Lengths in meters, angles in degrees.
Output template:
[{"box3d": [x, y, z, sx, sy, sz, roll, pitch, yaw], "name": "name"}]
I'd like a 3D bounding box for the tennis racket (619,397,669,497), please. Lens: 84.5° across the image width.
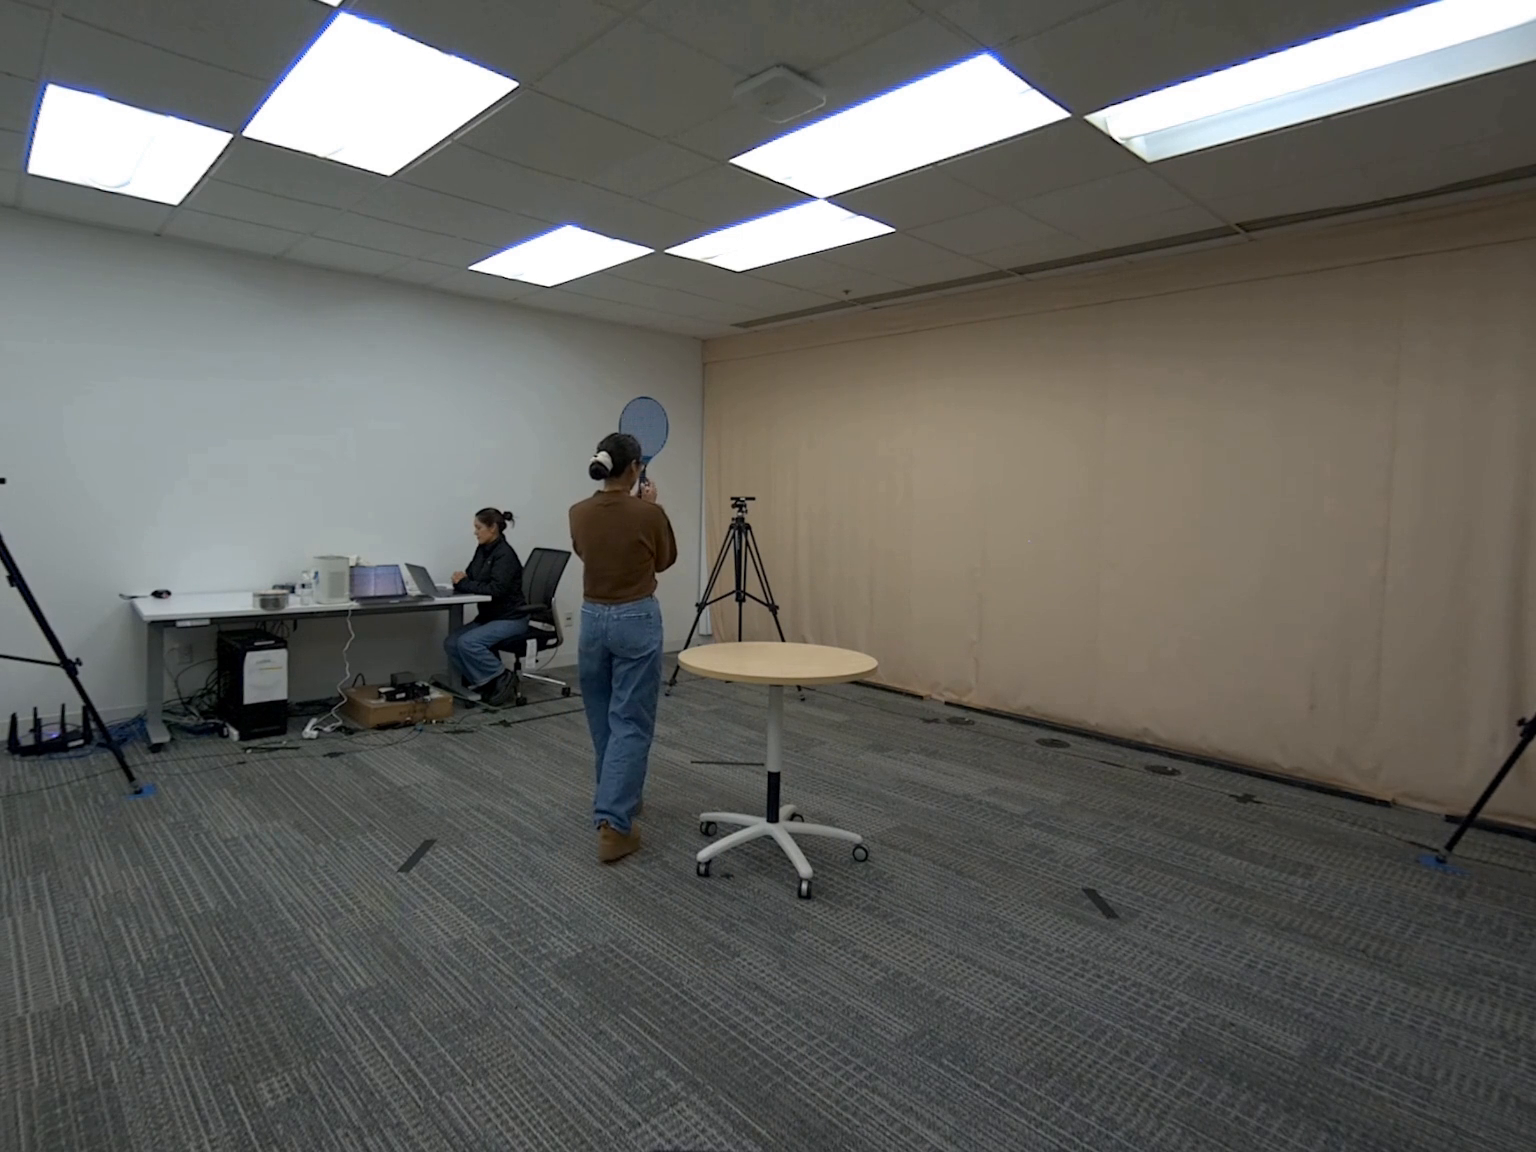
[{"box3d": [-0.539, -0.555, 3.582, 0.212, 0.434, 0.032, 8, -5, -6], "name": "tennis racket"}]
